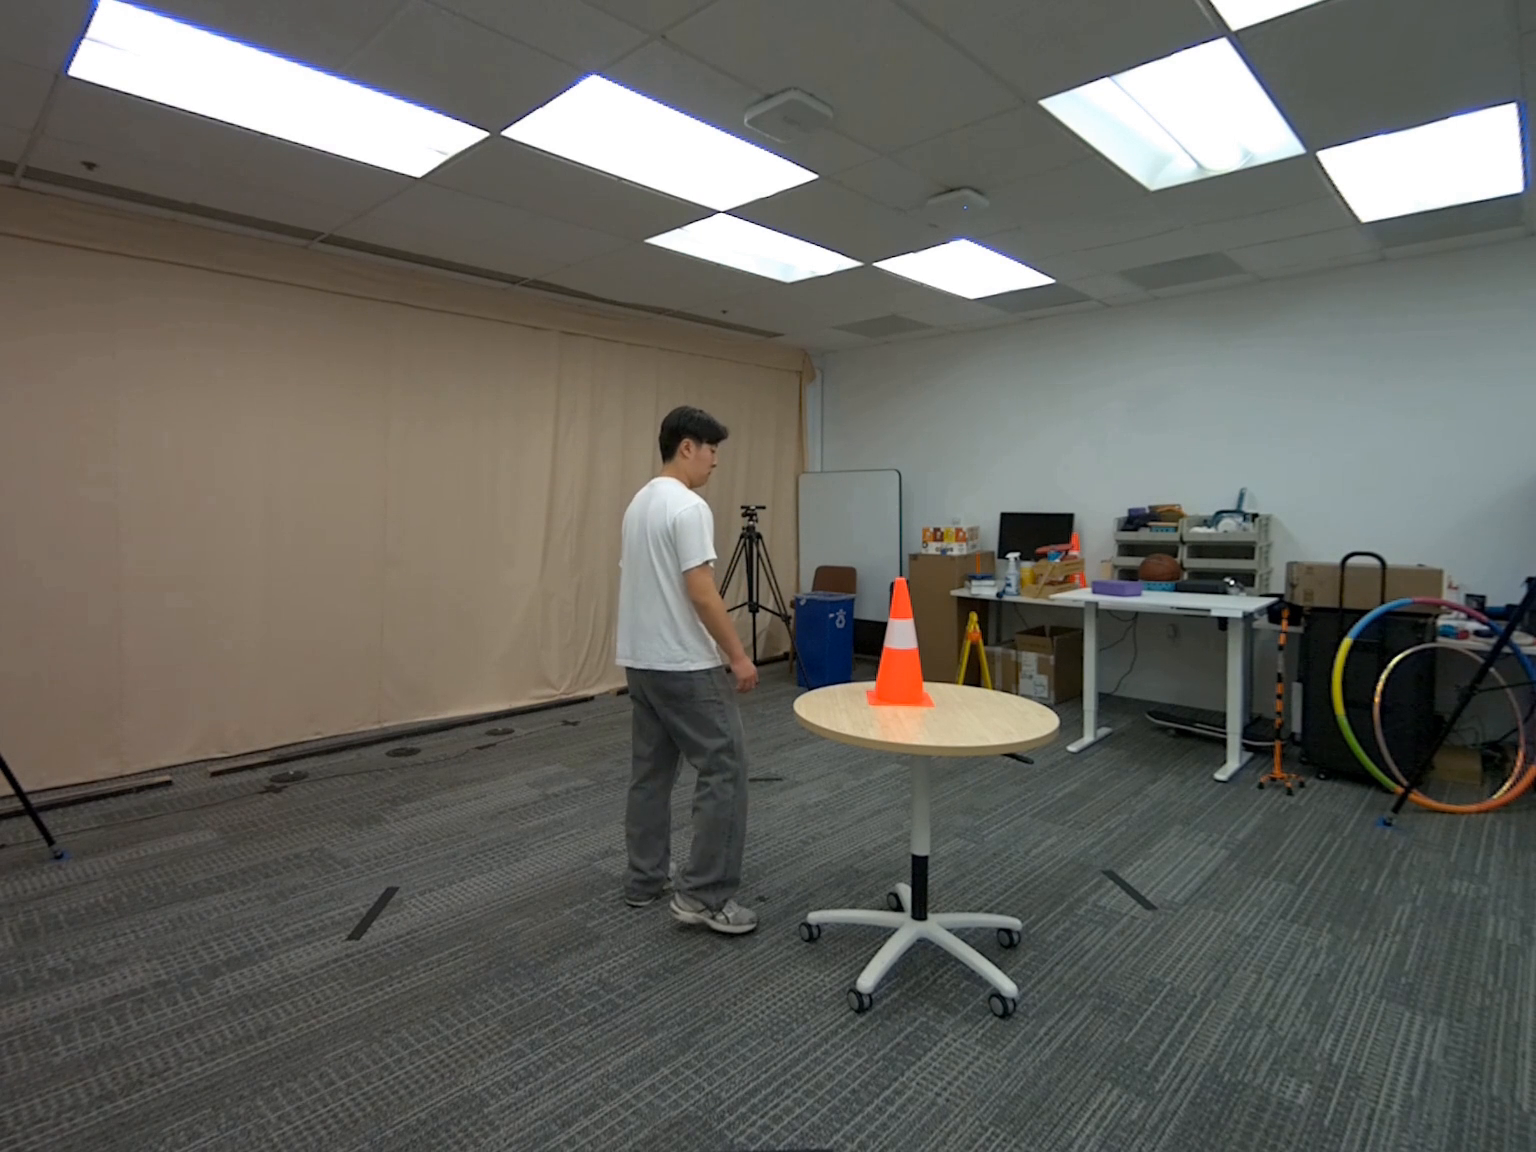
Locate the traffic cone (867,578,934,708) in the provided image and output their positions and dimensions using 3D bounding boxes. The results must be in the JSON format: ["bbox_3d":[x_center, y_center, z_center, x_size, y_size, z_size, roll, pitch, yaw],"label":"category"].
[{"bbox_3d":[0.424,0.202,2.636,0.206,0.383,0.202,-2,3,5],"label":"traffic cone"}]
